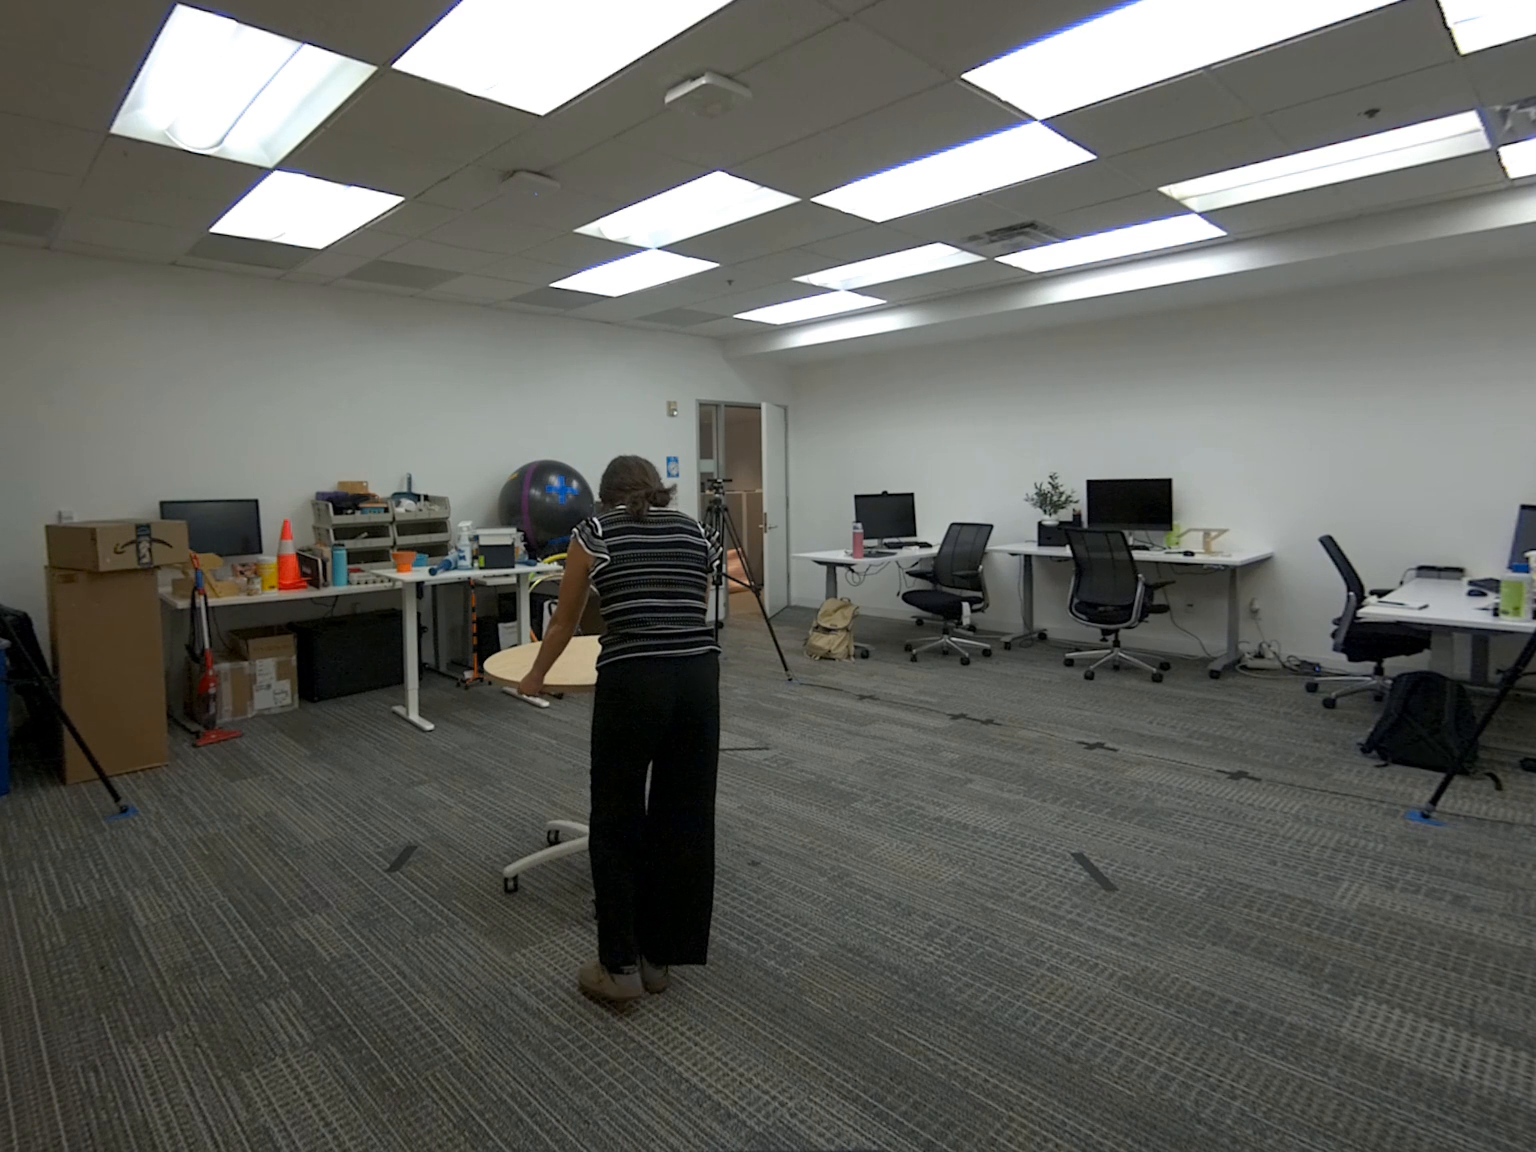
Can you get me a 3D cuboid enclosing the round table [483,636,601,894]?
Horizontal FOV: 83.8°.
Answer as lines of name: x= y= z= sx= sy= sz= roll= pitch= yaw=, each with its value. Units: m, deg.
round table: x=-0.593 y=0.675 z=3.043 sx=0.763 sy=0.790 sz=0.768 roll=-1 pitch=6 yaw=-2
